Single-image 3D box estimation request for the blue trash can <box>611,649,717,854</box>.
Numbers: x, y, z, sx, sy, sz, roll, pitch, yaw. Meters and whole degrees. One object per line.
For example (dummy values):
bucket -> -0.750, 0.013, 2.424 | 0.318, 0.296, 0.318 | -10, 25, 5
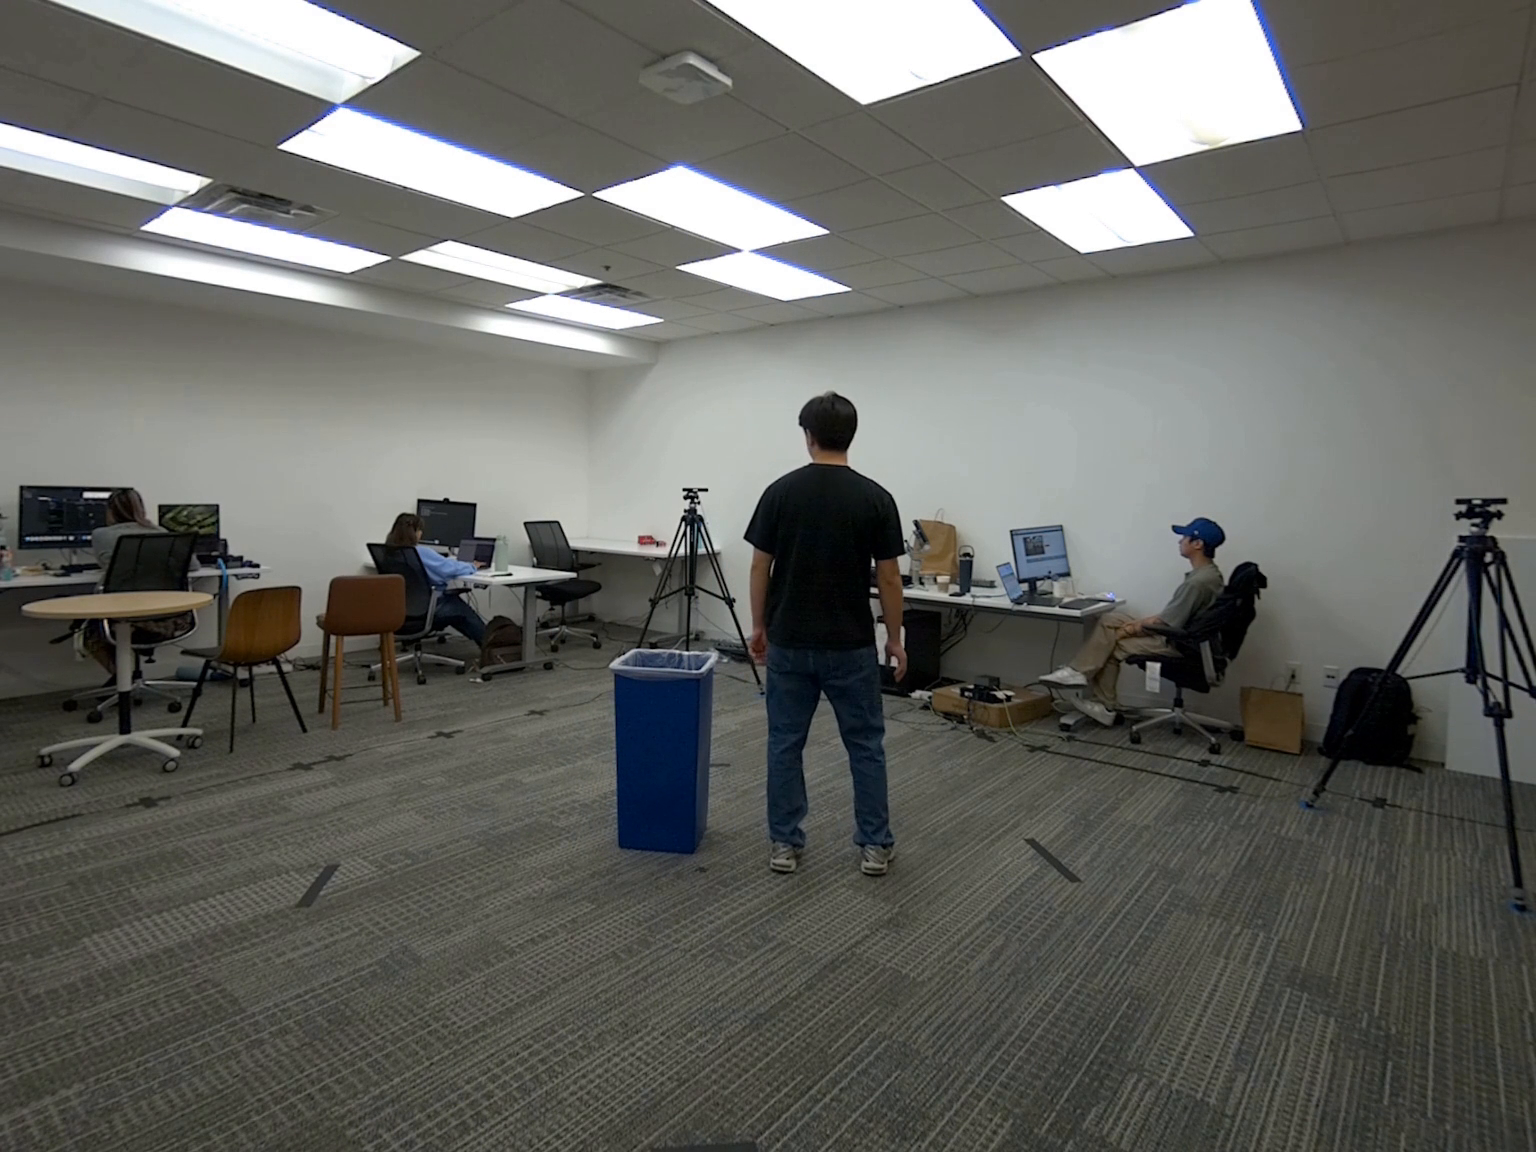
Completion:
blue trash can -> -0.428, 0.680, 3.392 | 0.382, 0.710, 0.372 | 1, 5, 8
